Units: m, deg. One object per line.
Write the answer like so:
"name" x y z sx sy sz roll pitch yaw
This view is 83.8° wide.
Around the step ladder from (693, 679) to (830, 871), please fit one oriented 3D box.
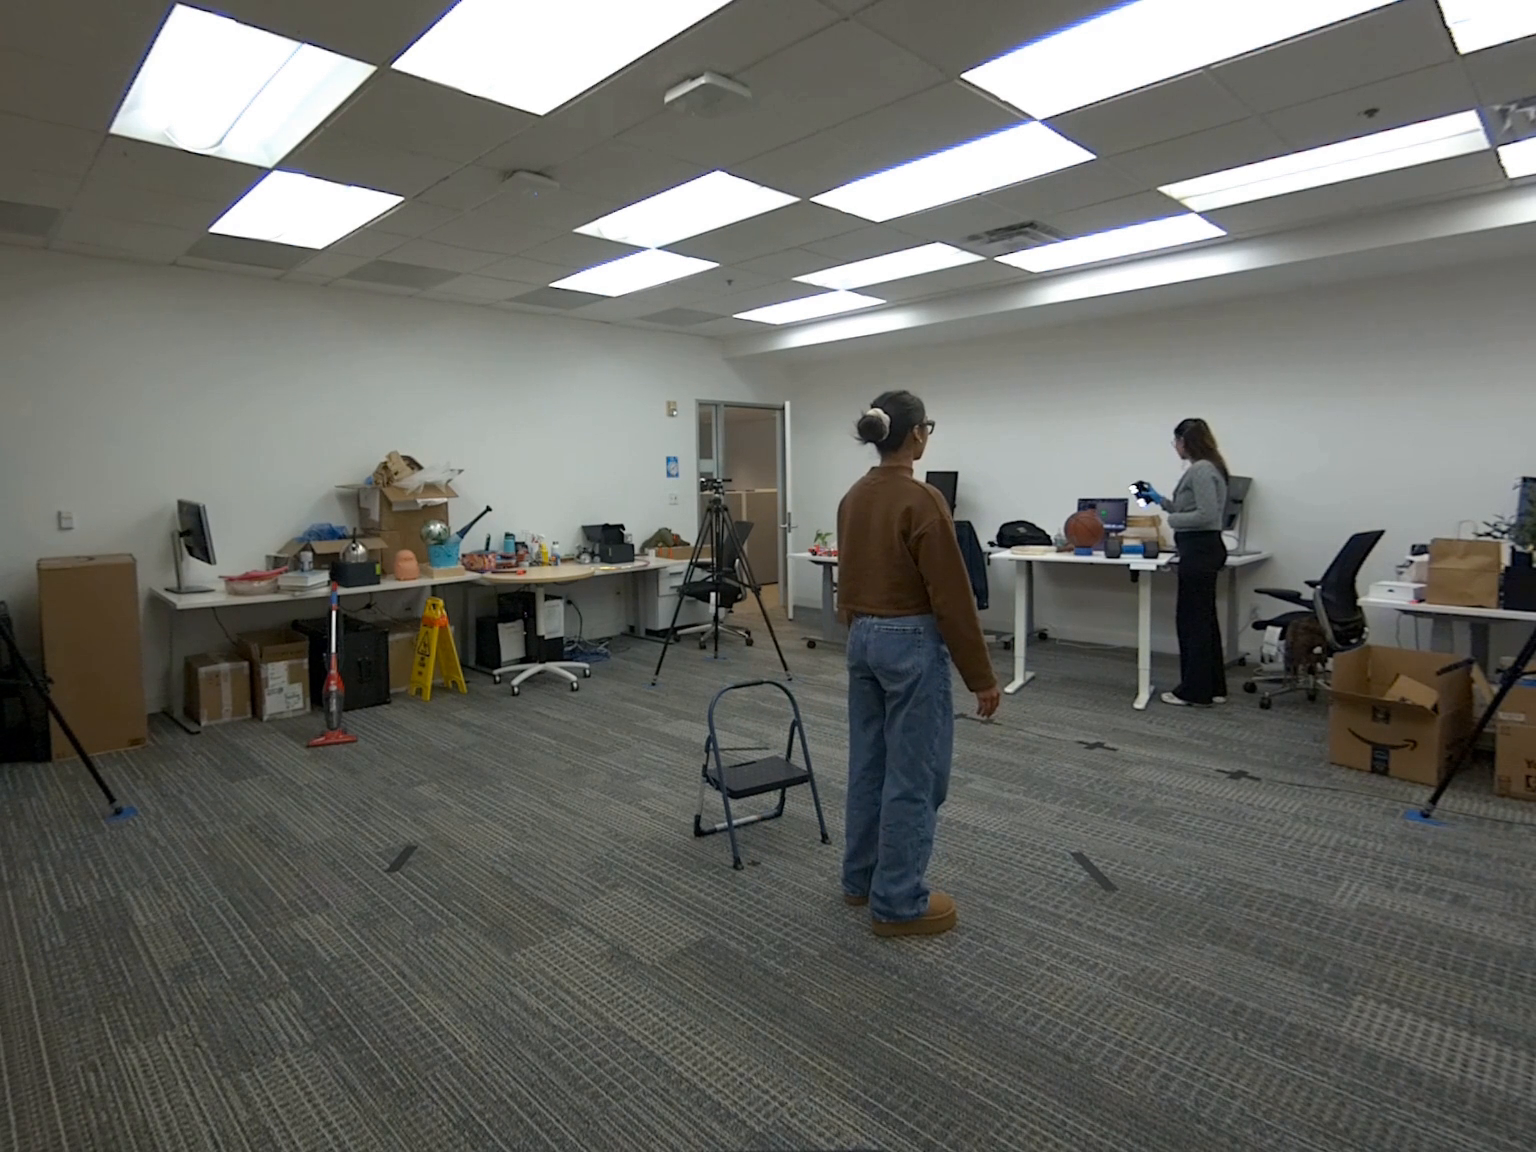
"step ladder" -0.030 0.717 3.291 0.420 0.604 0.359 -4 5 -33
